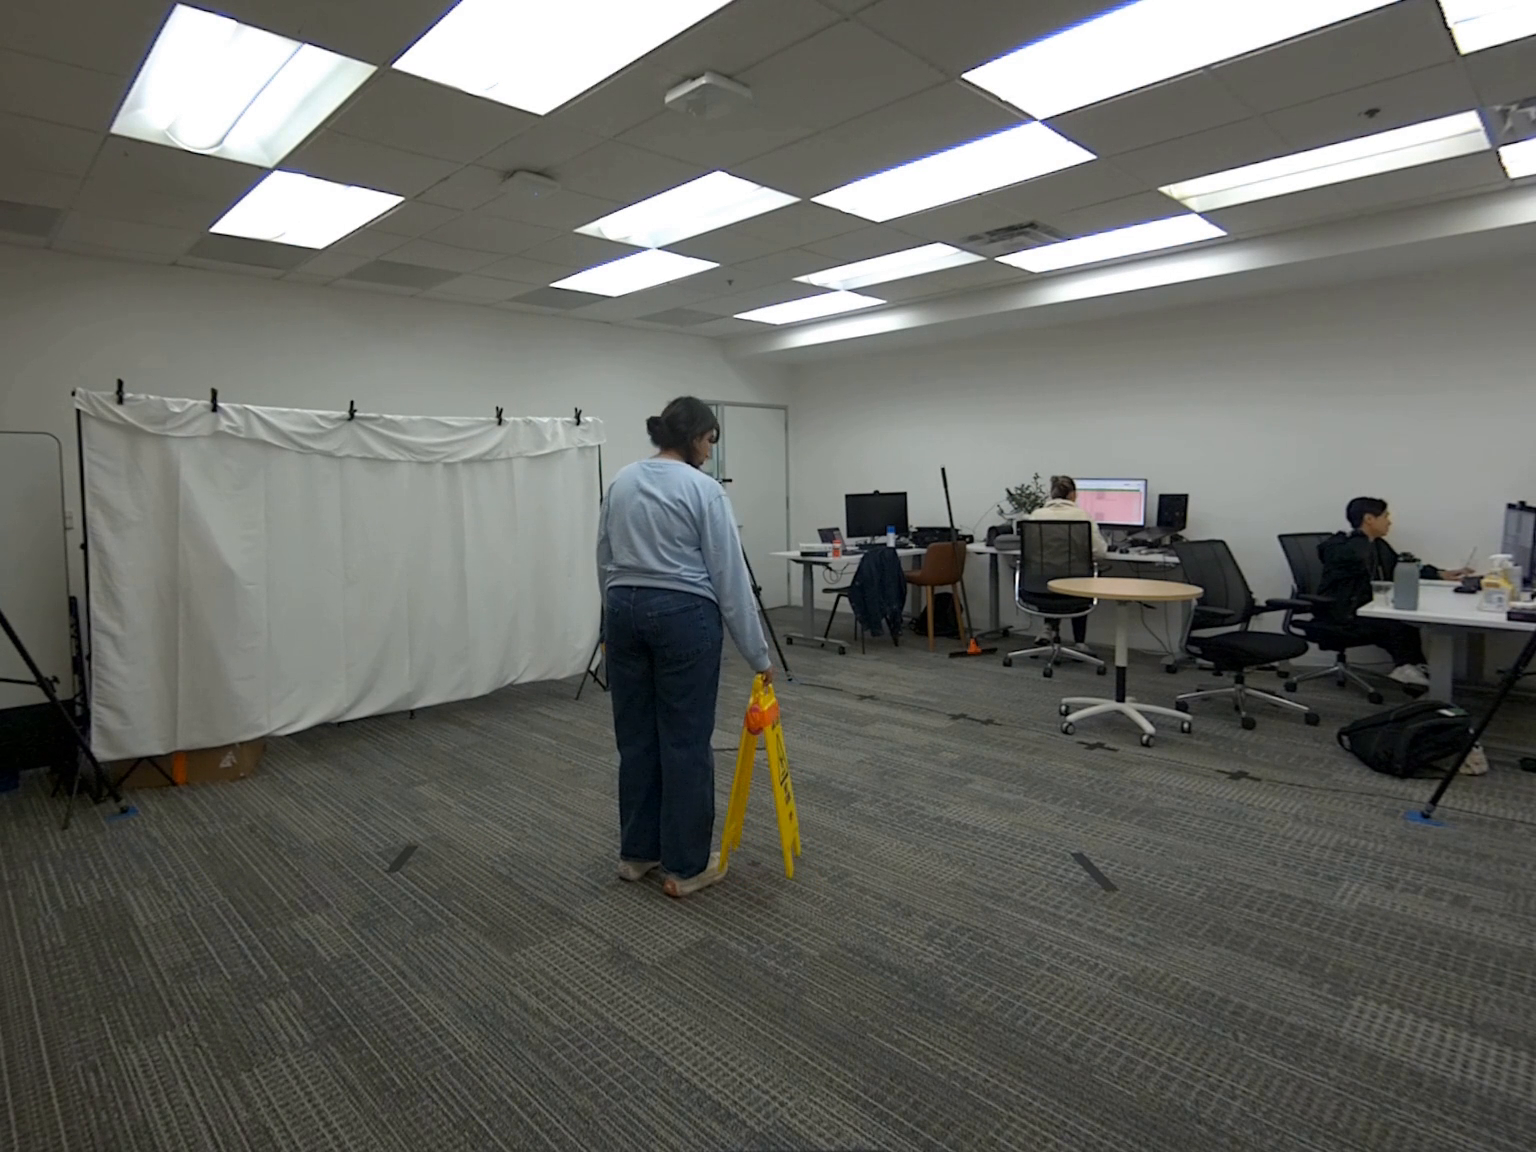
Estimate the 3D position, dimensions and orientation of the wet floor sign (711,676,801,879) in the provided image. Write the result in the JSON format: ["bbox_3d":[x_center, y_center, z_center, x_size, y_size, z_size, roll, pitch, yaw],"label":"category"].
[{"bbox_3d":[-0.020,0.652,2.931,0.293,0.645,0.279,2,2,11],"label":"wet floor sign"}]
